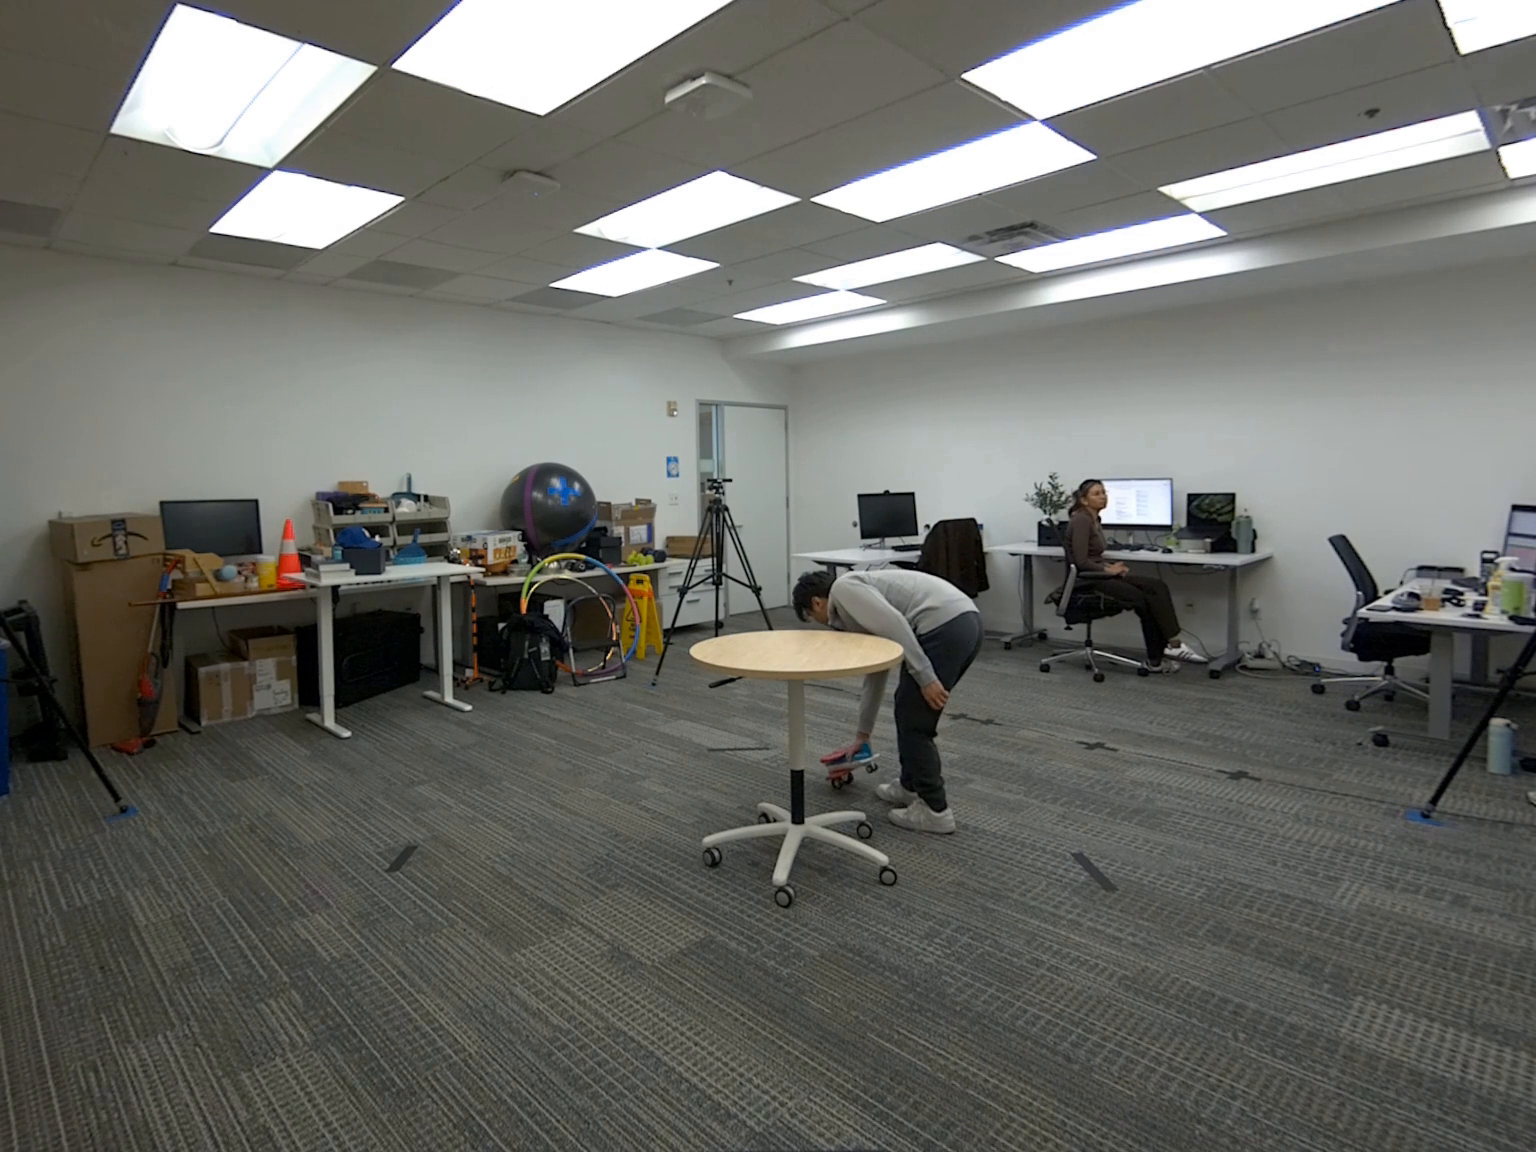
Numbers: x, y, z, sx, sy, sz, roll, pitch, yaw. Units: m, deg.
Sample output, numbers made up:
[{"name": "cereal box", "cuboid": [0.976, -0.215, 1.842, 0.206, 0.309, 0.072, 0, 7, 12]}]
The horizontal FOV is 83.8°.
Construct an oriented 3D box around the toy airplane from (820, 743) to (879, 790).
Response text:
[{"name": "toy airplane", "cuboid": [0.382, 0.845, 3.862, 0.260, 0.160, 0.245, -30, -16, 9]}]
